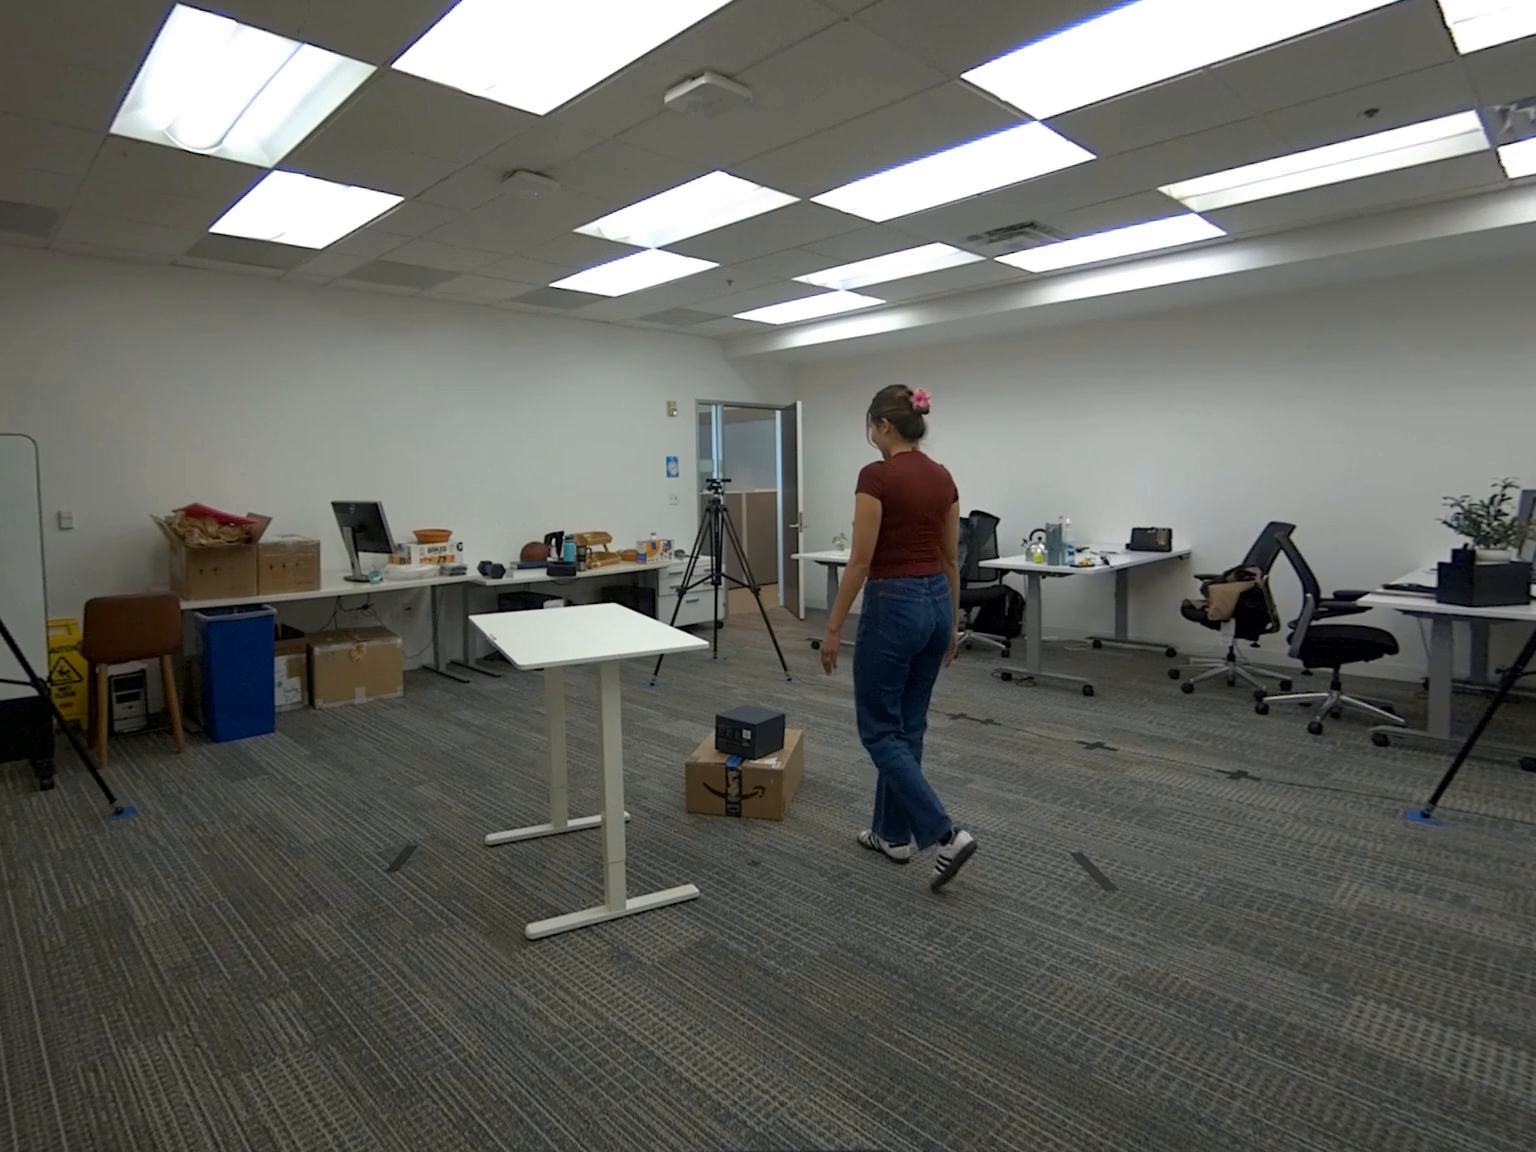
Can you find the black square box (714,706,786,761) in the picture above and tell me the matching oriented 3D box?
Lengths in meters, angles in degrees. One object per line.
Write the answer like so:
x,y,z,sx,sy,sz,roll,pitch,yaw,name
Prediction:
-0.076,0.671,3.719,0.223,0.155,0.222,5,6,36,black square box
